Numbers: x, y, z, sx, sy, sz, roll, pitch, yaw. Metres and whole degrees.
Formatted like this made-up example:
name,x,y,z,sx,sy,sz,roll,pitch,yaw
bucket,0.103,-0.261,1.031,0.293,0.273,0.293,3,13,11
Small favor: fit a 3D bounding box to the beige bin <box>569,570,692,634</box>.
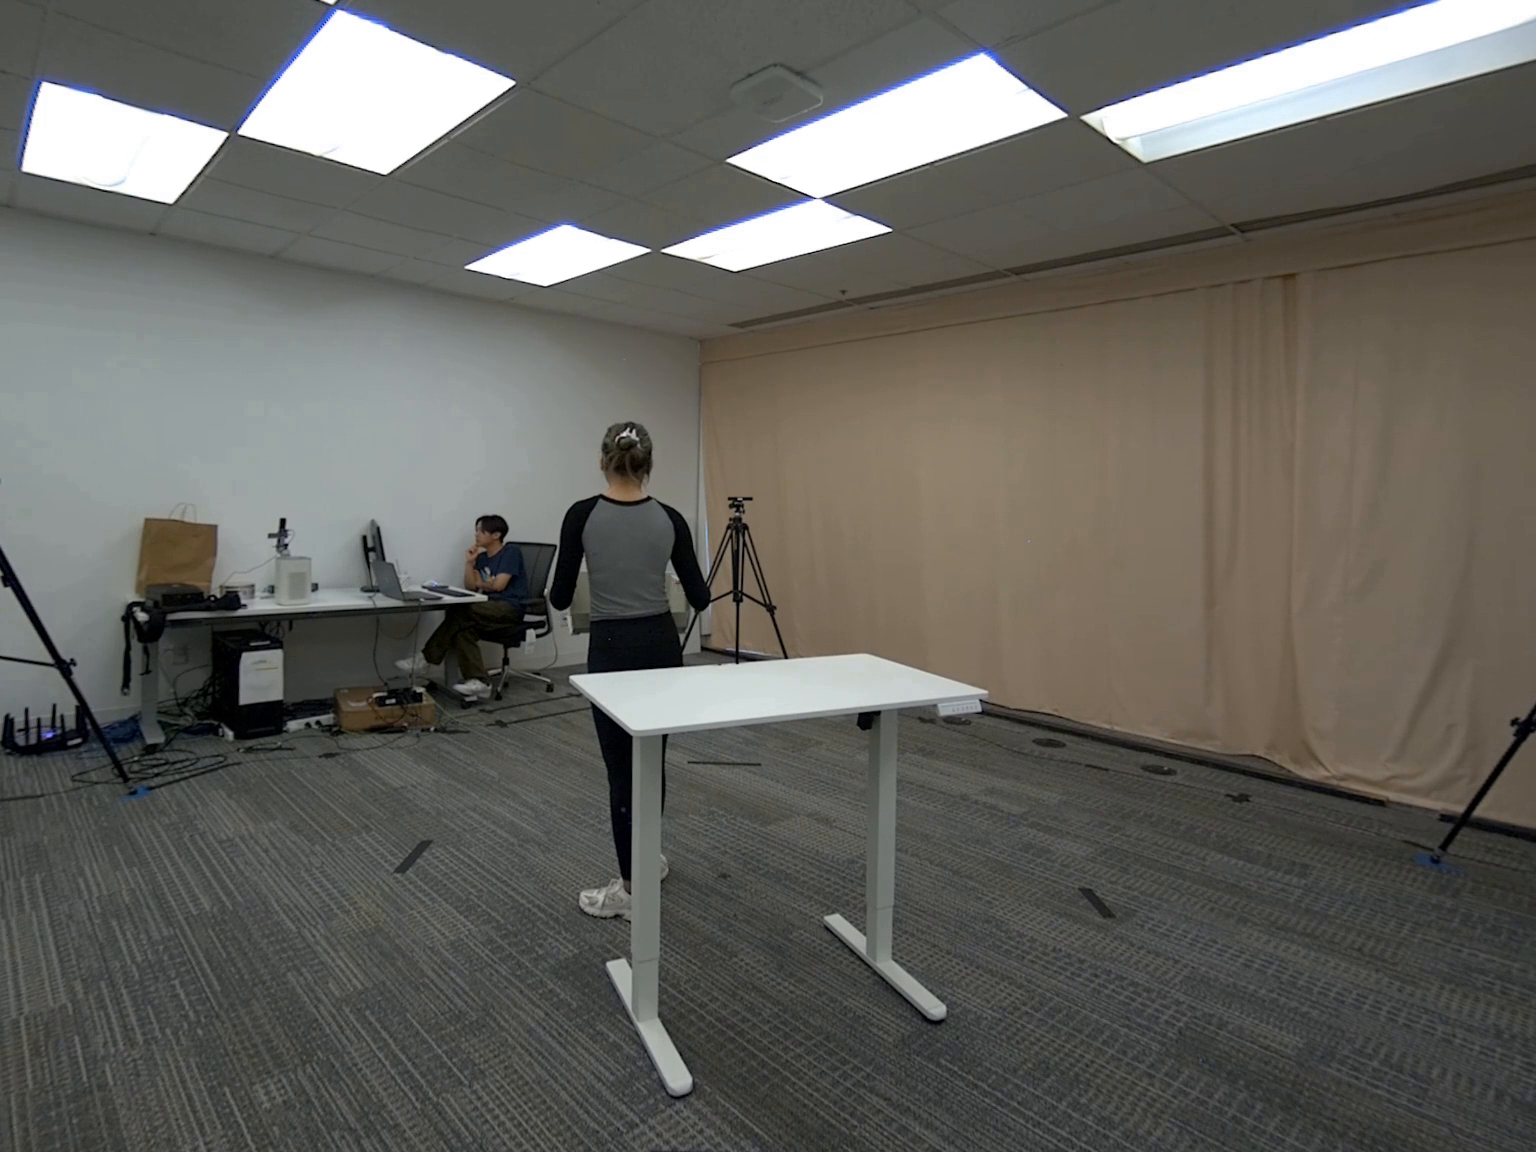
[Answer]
name,x,y,z,sx,sy,sz,roll,pitch,yaw
beige bin,-0.526,0.102,3.085,0.417,0.188,0.383,0,6,-15
